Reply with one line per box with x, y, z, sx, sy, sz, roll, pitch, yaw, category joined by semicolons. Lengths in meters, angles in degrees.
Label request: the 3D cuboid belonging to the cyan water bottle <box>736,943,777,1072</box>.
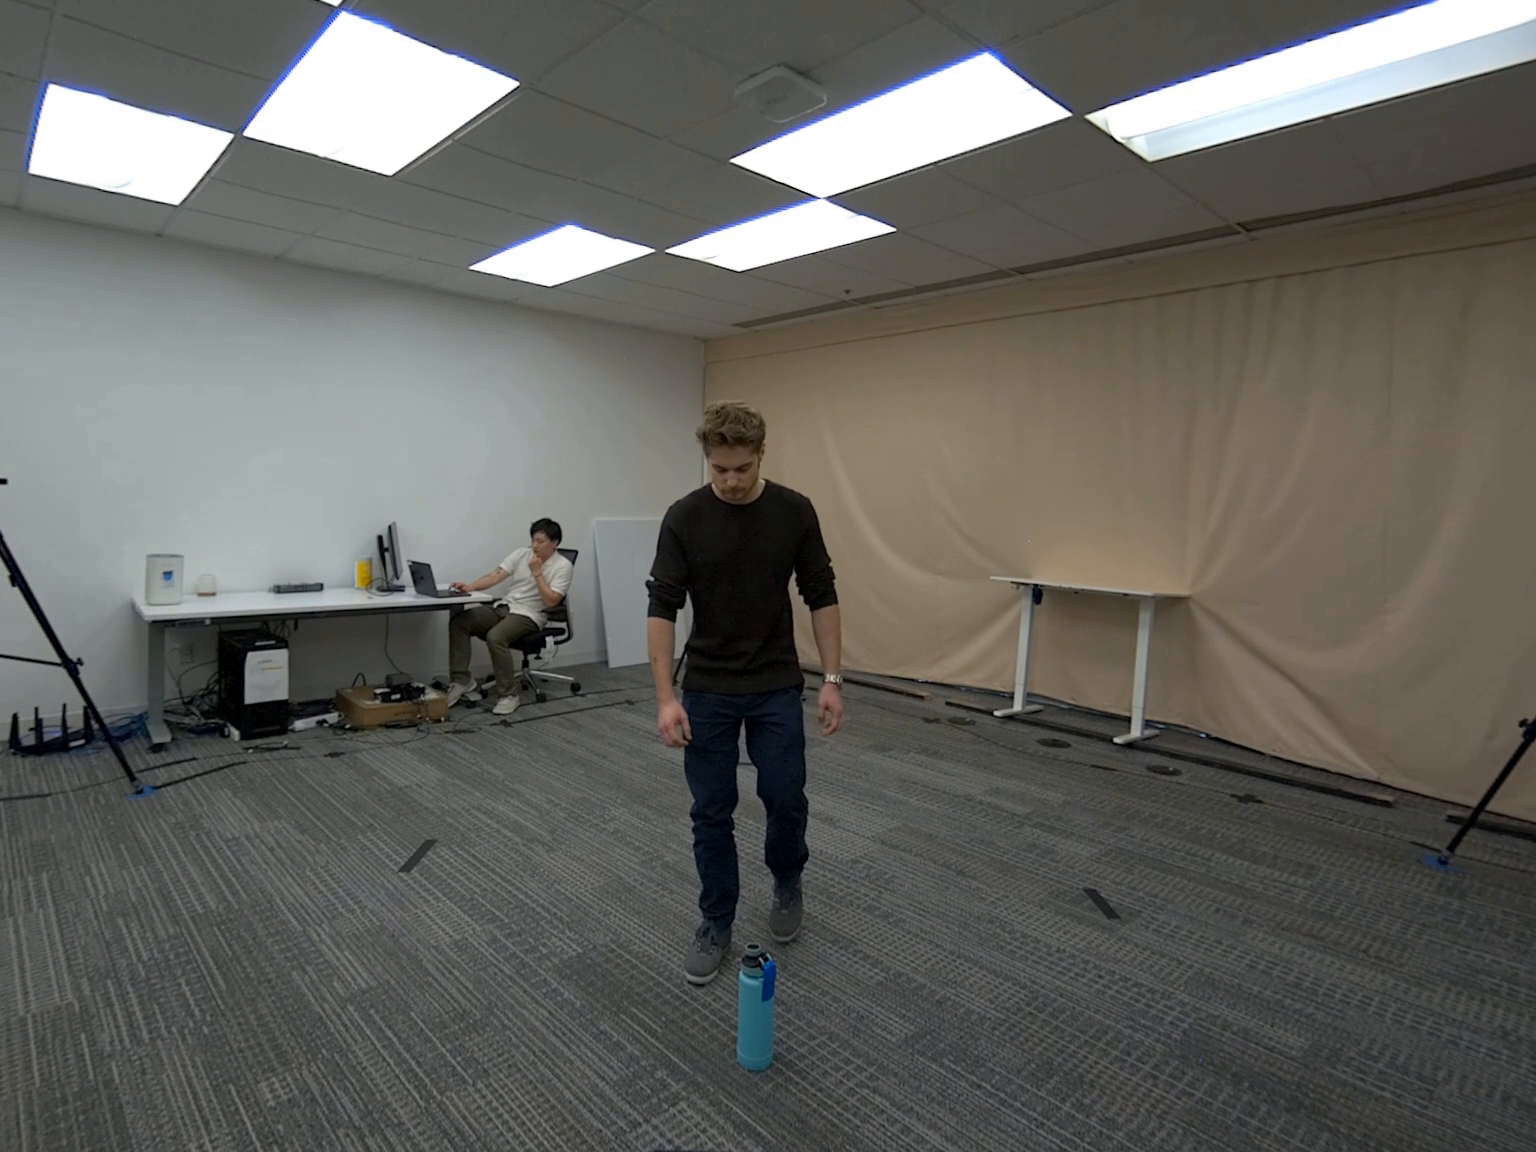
-0.036;1.063;2.087;0.092;0.282;0.093;1;6;-2;cyan water bottle
